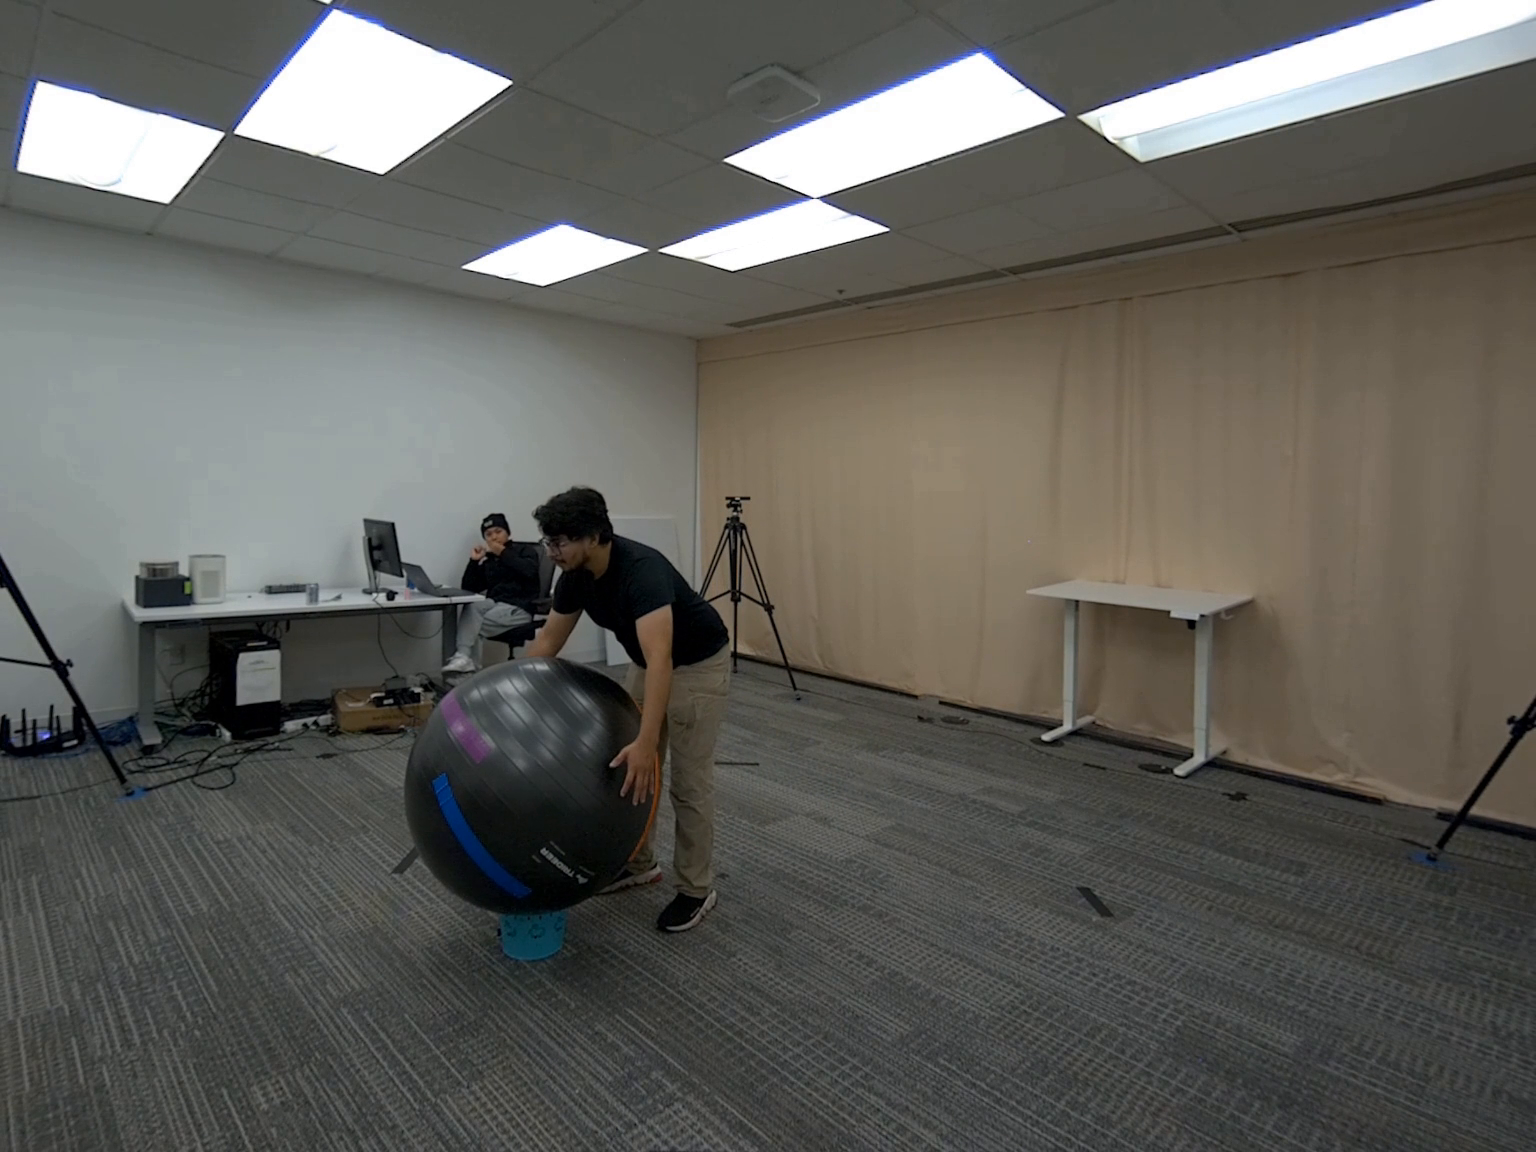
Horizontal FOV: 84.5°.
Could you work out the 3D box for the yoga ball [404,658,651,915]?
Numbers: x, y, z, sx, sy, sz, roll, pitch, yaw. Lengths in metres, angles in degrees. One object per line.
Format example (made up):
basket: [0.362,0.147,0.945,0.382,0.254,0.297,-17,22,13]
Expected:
yoga ball: [-0.722,0.640,2.580,0.757,0.756,0.761,1,4,-1]
